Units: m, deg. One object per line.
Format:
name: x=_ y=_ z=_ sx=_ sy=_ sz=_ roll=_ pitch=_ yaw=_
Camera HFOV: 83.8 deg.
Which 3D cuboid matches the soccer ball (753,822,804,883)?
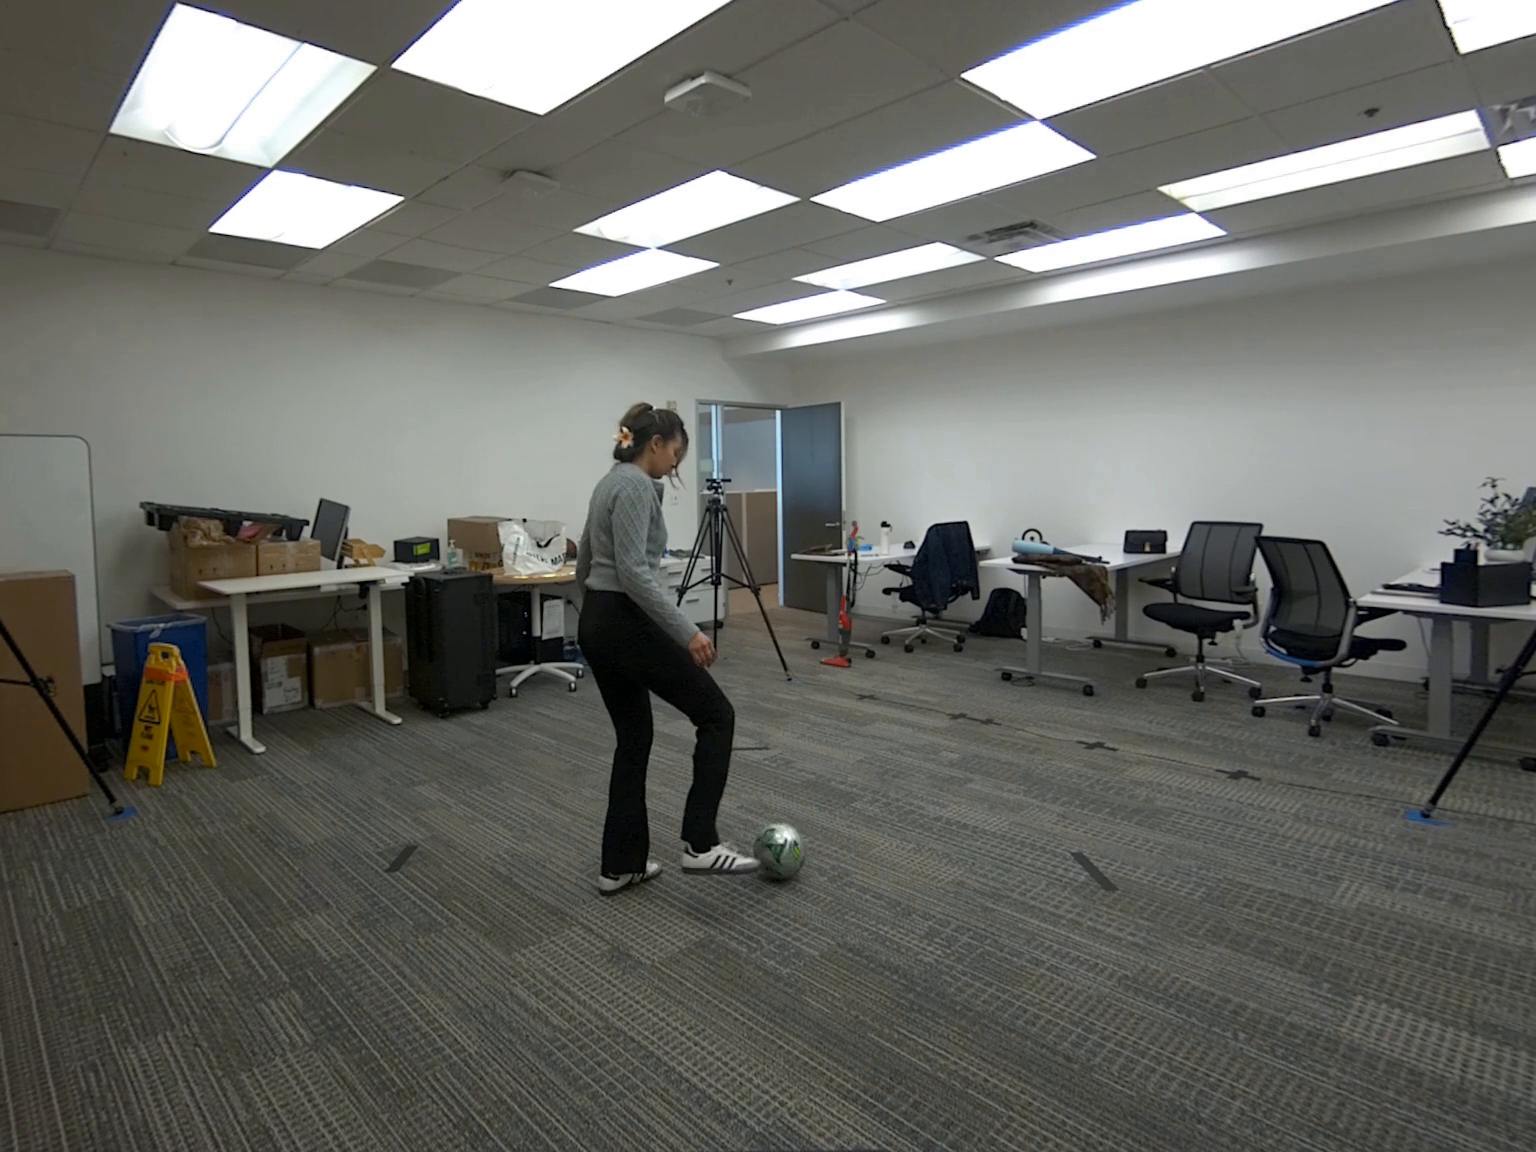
soccer ball: x=0.039 y=0.953 z=2.993 sx=0.187 sy=0.187 sz=0.188 roll=-1 pitch=5 yaw=-2
